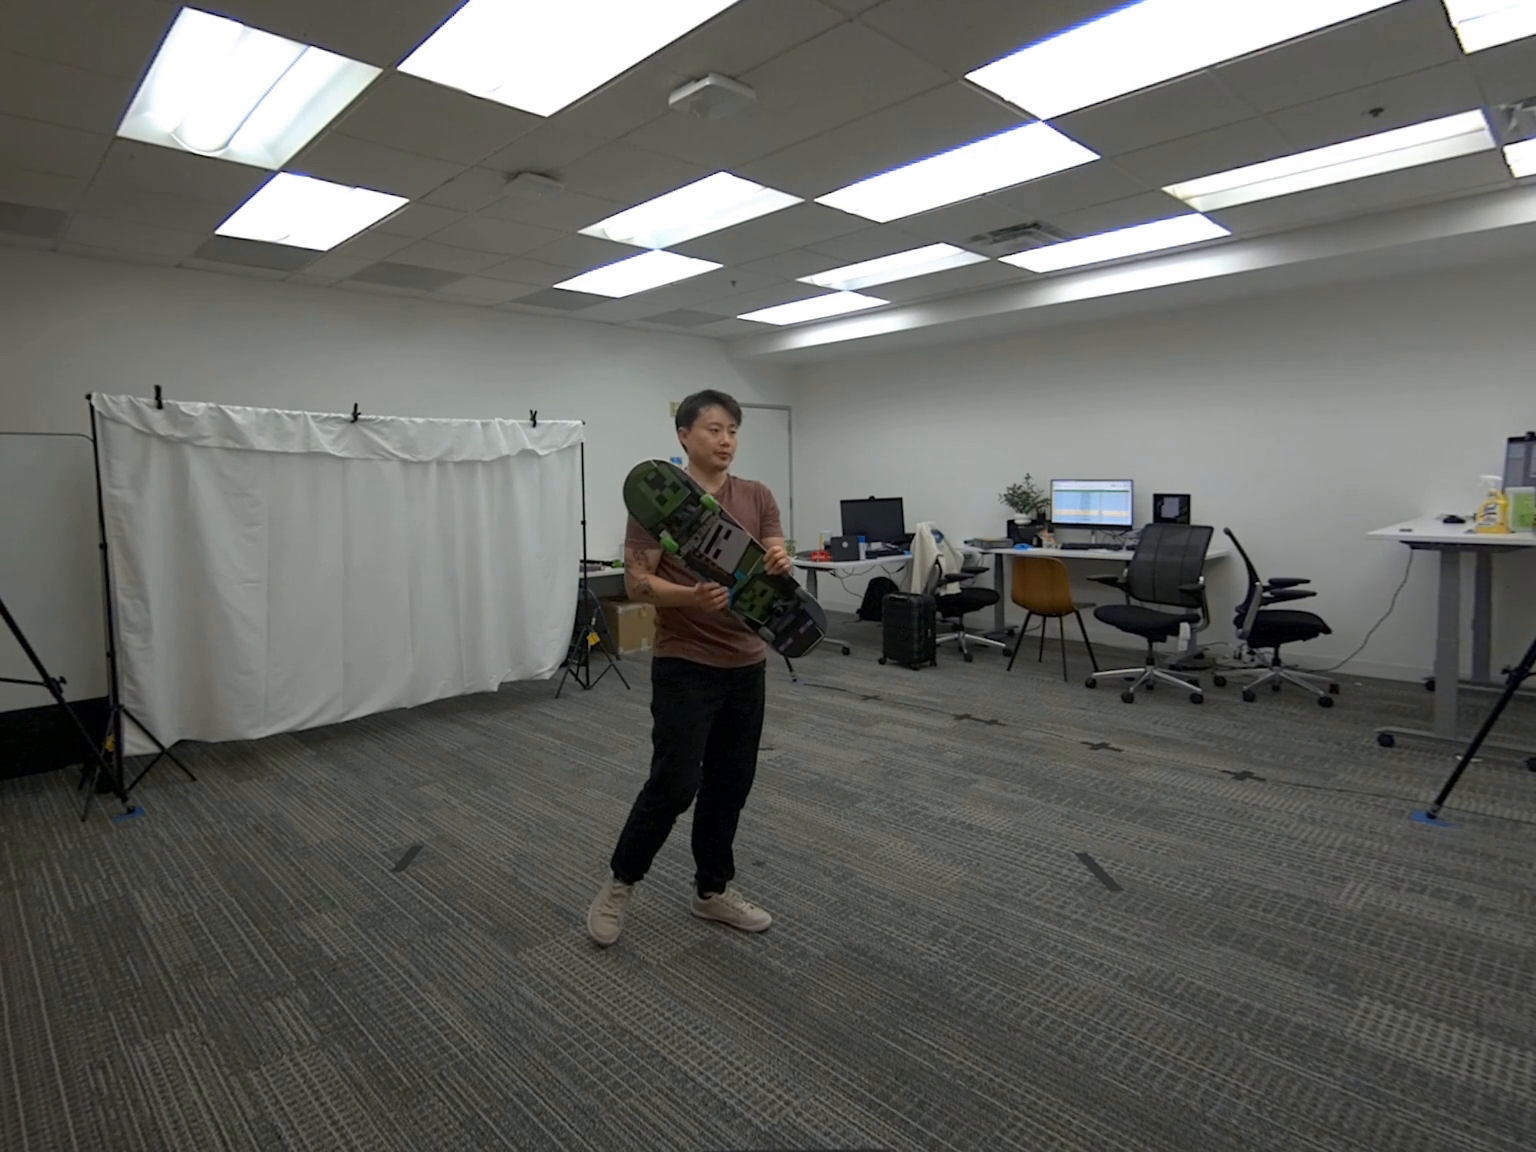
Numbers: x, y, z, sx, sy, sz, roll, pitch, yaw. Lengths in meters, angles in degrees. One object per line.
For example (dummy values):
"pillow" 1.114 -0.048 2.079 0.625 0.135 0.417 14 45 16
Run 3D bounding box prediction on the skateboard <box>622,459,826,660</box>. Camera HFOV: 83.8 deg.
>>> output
"skateboard" -0.097 -0.021 2.364 0.764 0.193 0.113 44 -4 -22
